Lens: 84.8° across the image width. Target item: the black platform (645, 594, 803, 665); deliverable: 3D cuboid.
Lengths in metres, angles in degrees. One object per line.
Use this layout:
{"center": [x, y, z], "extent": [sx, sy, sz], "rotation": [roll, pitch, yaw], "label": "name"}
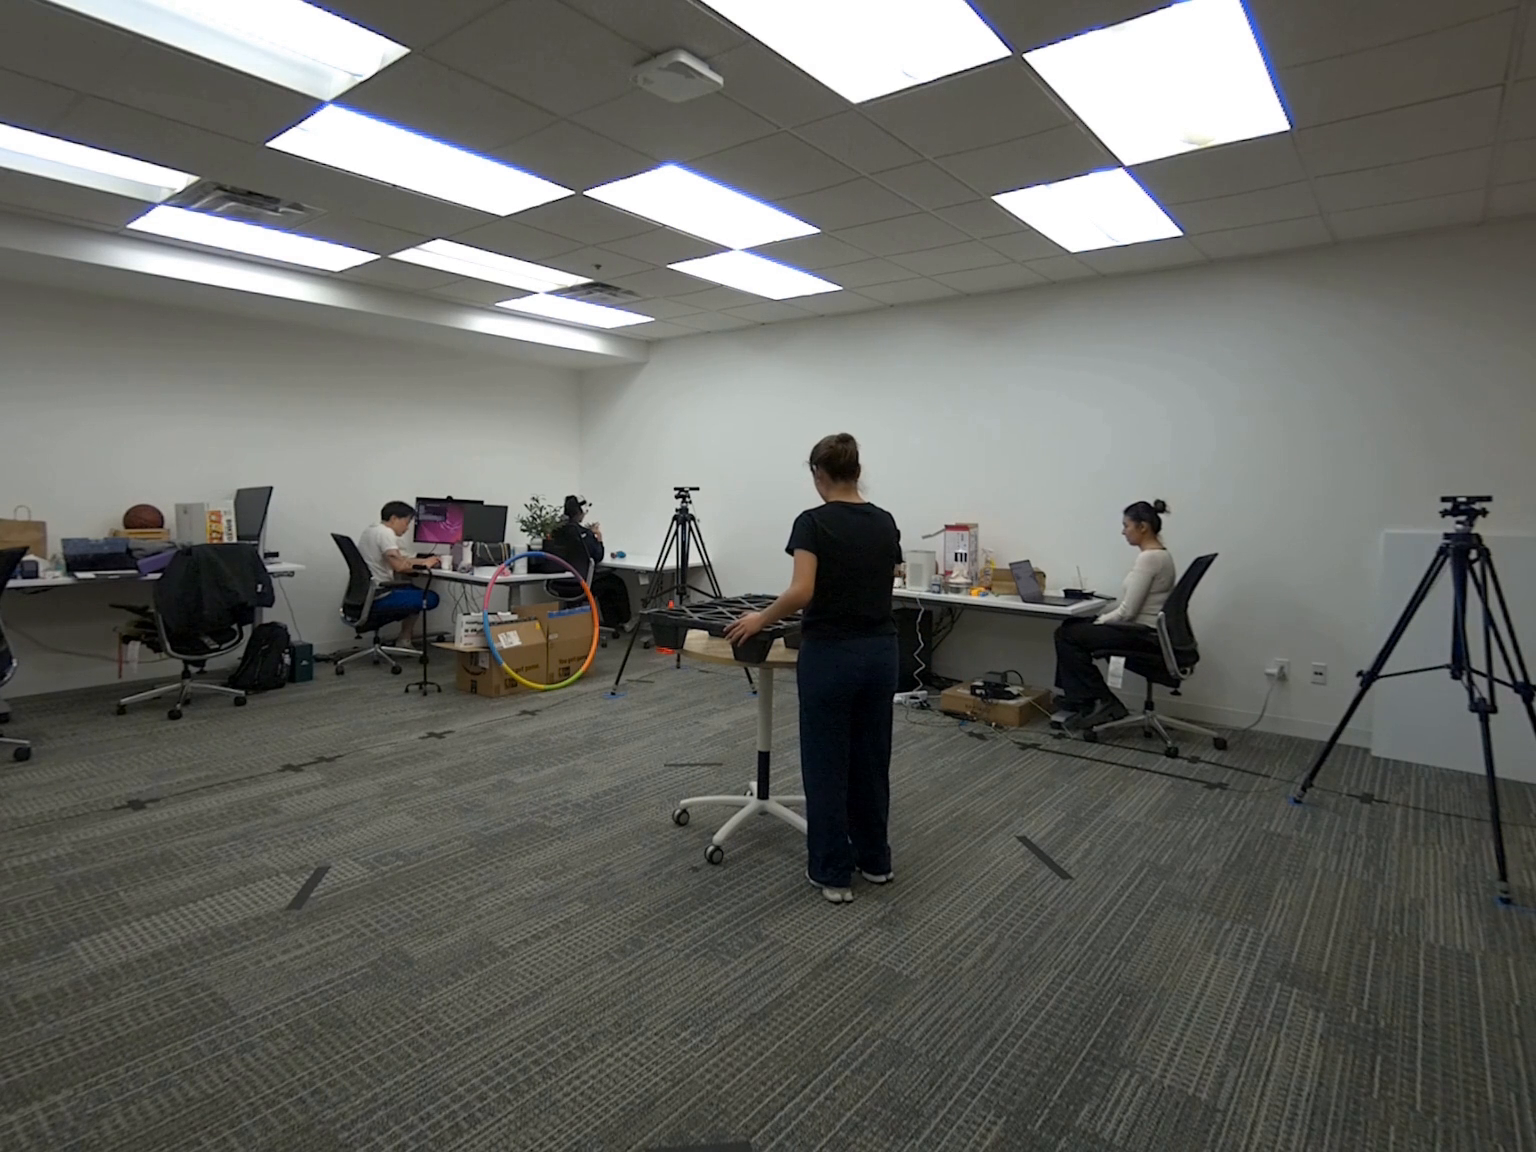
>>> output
{"center": [-0.011, 0.195, 3.398], "extent": [0.625, 0.143, 0.783], "rotation": [5, 7, 35], "label": "black platform"}
